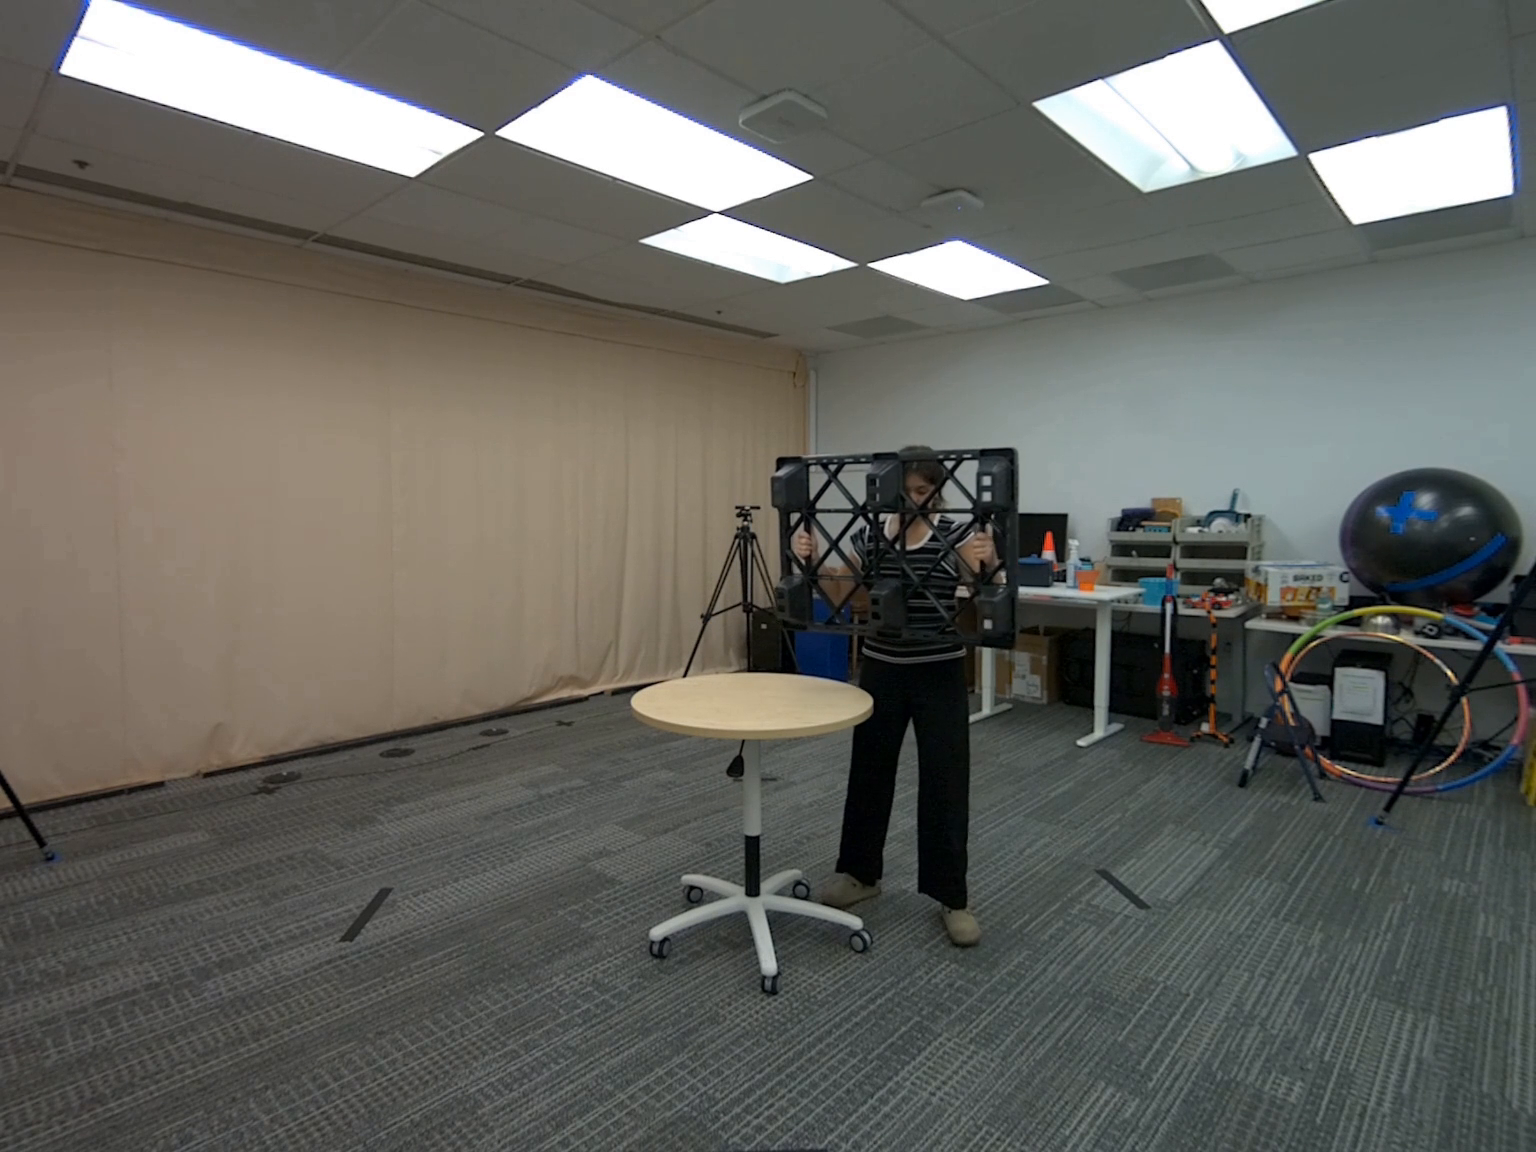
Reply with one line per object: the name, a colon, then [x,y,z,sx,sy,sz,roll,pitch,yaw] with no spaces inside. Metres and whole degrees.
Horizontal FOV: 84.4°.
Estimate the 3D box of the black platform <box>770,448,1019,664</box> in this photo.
black platform: [0.375,-0.094,2.659,0.829,0.602,0.140,2,8,32]
